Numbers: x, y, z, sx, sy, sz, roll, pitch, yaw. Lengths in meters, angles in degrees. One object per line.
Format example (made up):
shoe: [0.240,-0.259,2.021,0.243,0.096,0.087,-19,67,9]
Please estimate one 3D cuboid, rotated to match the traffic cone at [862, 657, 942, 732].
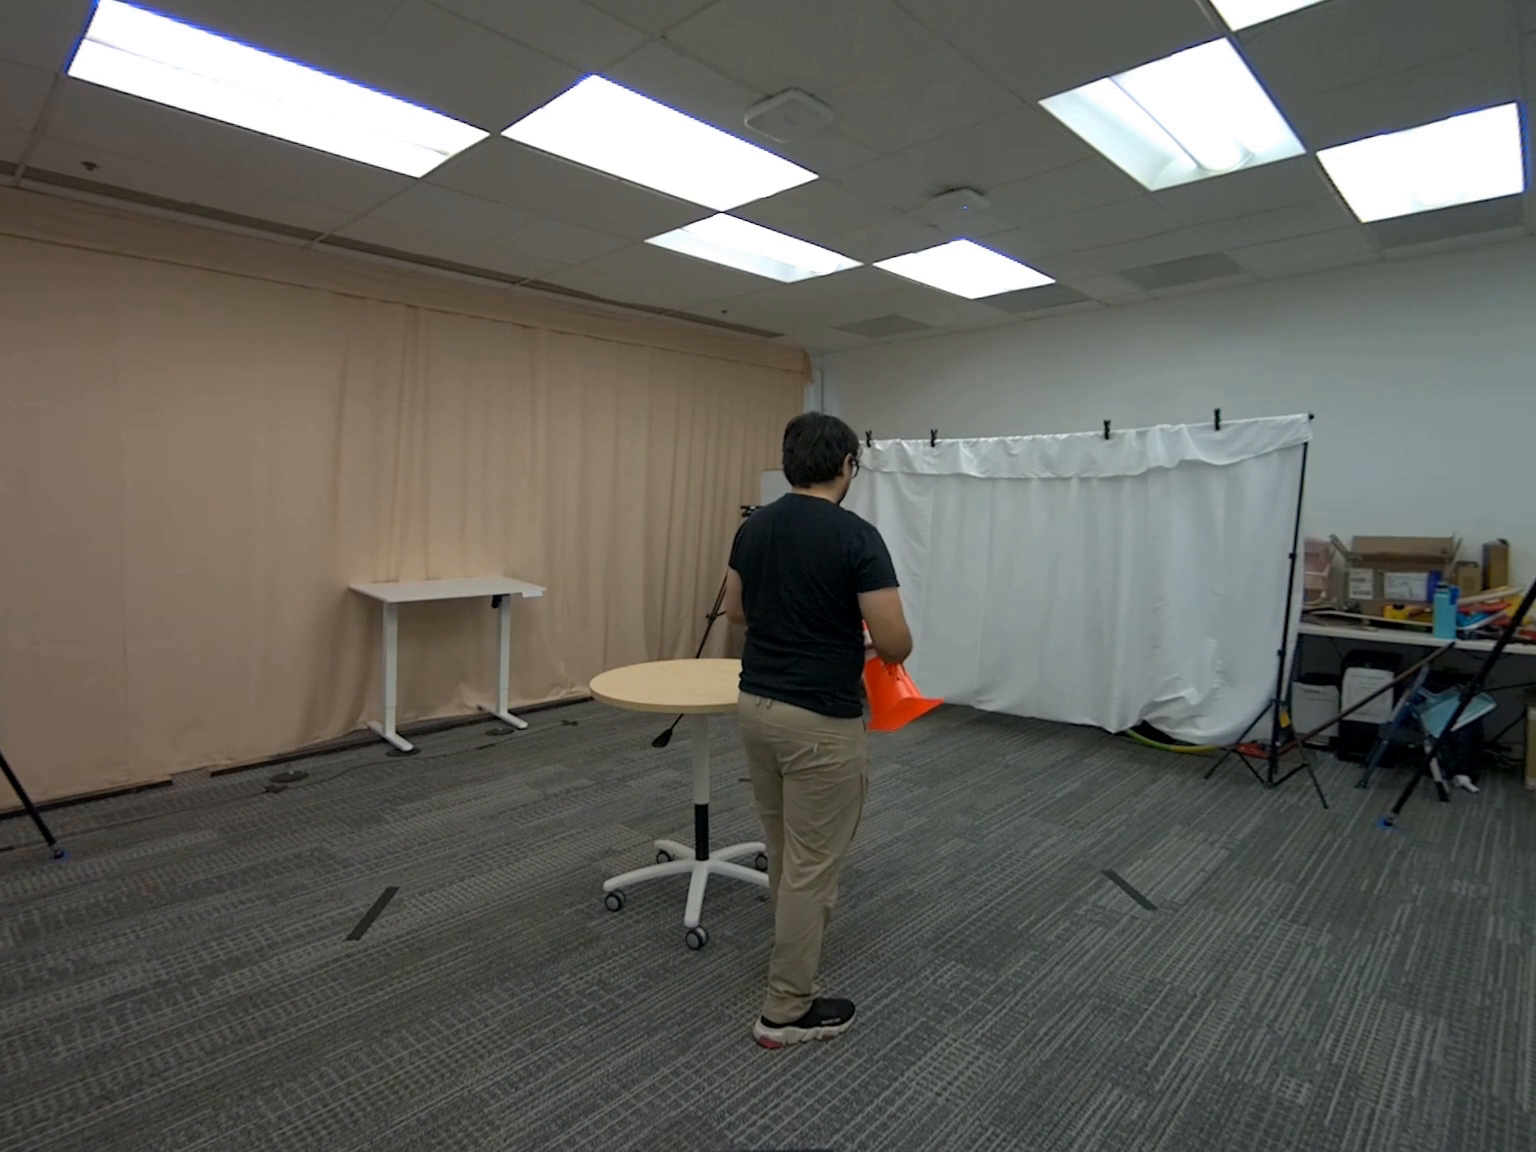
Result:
traffic cone: [0.319,0.231,2.442,0.198,0.392,0.206,11,-40,-44]
